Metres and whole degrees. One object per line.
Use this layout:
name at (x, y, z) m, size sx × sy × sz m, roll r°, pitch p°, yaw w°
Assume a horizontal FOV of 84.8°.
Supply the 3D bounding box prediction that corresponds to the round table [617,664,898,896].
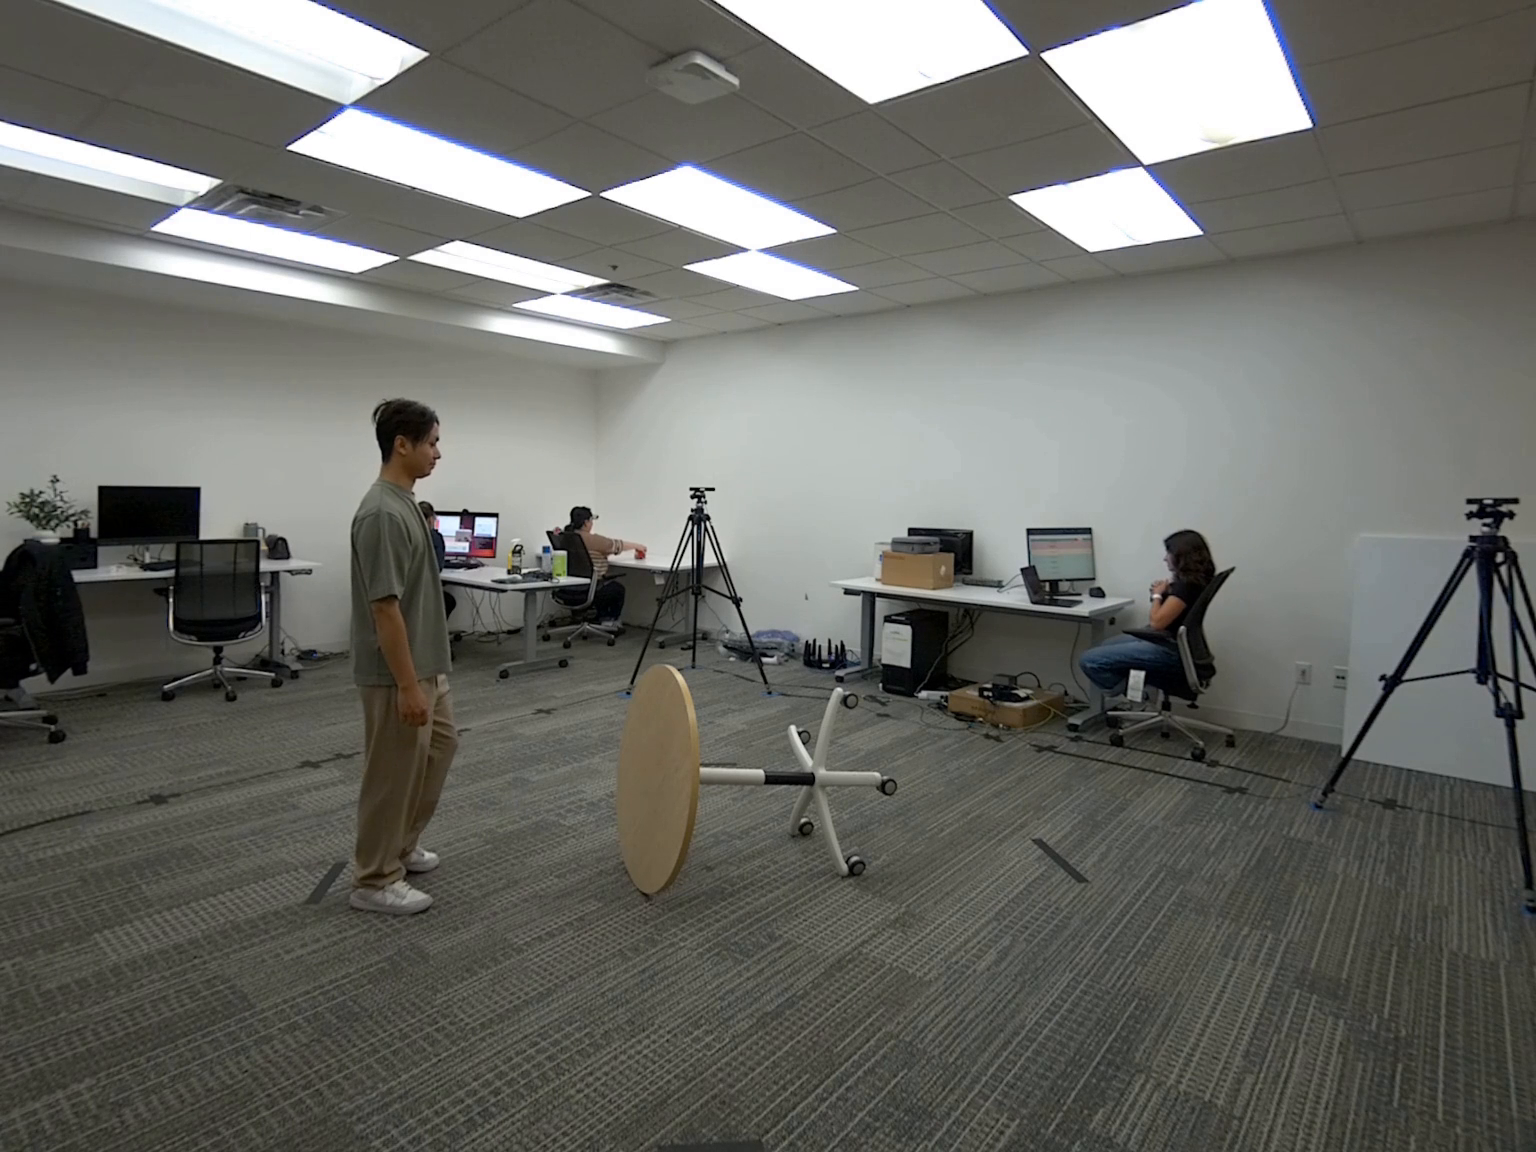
round table at (-0.066, 0.736, 3.122) m, size 0.767 × 0.785 × 0.806 m, roll 7°, pitch 1°, yaw -24°
